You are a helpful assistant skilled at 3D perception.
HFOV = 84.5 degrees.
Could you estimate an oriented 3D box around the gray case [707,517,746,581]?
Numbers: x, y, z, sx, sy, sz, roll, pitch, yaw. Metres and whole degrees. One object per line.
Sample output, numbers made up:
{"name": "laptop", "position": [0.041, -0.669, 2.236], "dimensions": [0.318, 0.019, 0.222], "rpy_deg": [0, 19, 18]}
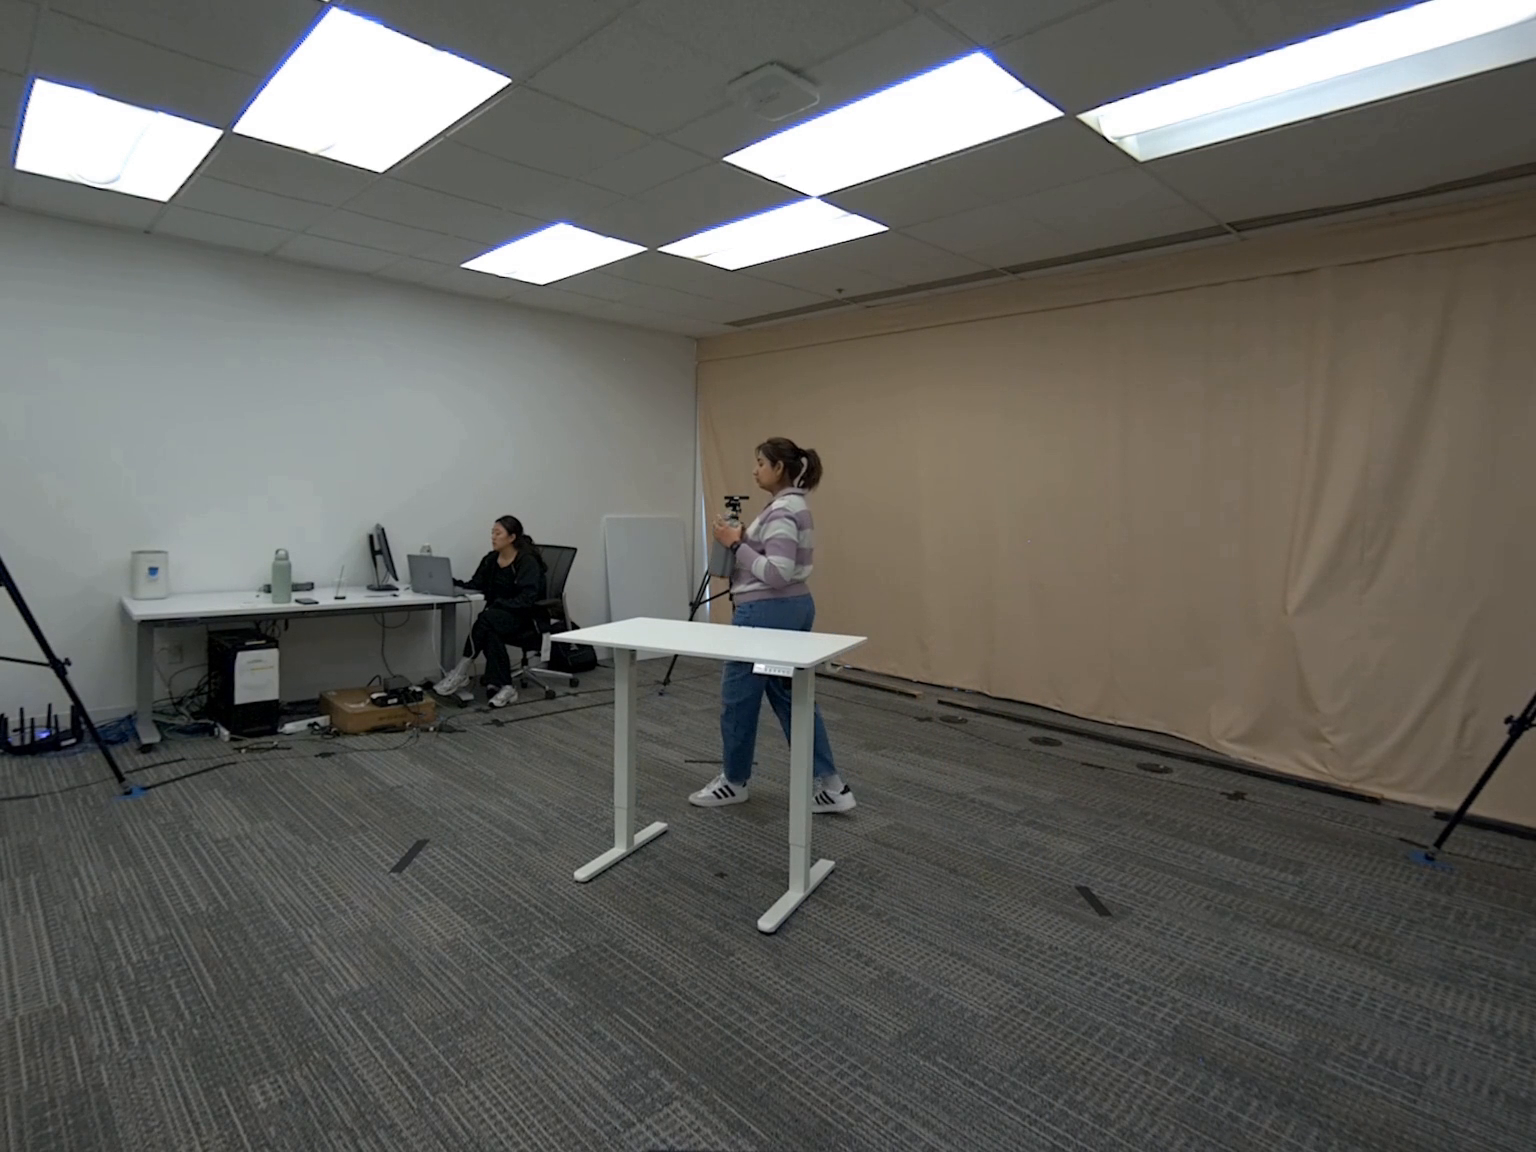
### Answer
{"name": "gray case", "position": [-0.185, -0.127, 3.788], "dimensions": [0.105, 0.260, 0.256], "rpy_deg": [9, 4, 4]}
